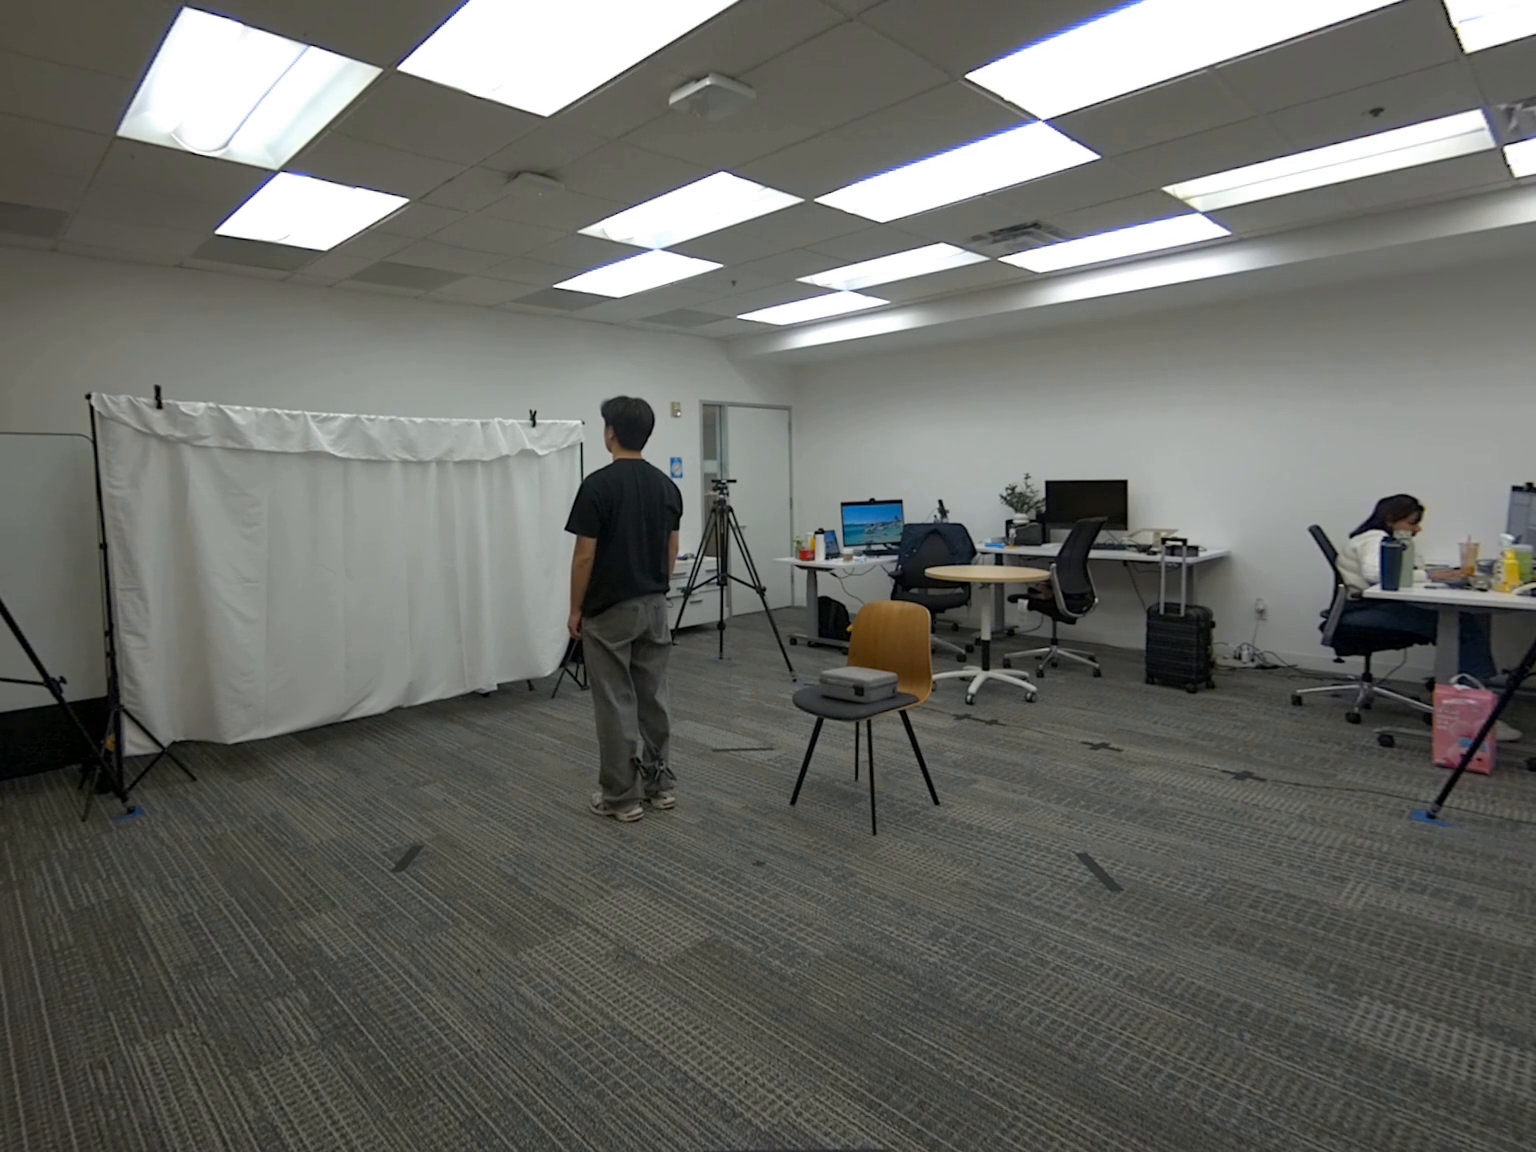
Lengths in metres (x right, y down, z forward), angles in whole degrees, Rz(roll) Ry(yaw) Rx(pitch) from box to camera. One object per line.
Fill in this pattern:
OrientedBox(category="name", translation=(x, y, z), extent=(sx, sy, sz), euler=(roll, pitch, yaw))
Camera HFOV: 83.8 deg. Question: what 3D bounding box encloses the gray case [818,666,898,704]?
OrientedBox(category="gray case", translation=(0.382, 0.450, 3.598), extent=(0.271, 0.103, 0.279), euler=(4, 4, 41))
